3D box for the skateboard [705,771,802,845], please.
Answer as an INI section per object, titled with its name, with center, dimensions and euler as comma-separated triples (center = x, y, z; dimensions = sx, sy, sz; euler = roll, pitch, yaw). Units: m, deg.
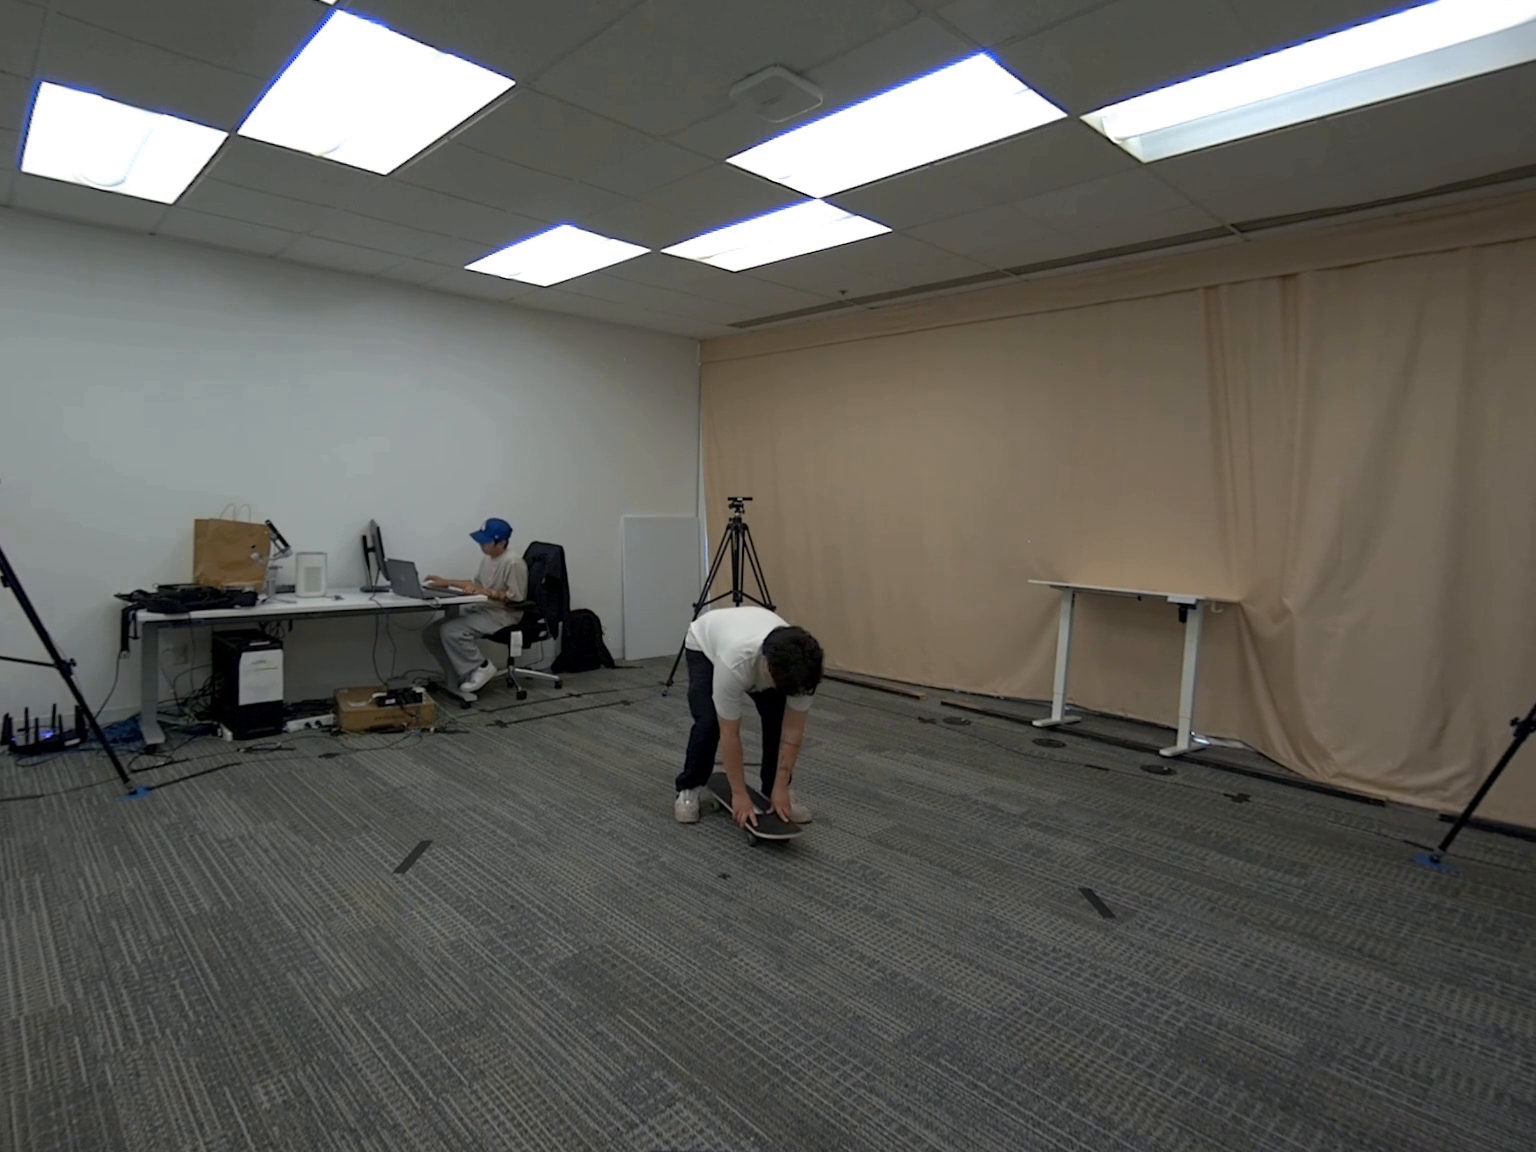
[skateboard]
center = -0.095, 1.014, 3.596
dimensions = 0.190, 0.110, 0.801
euler = 0, 5, -24
